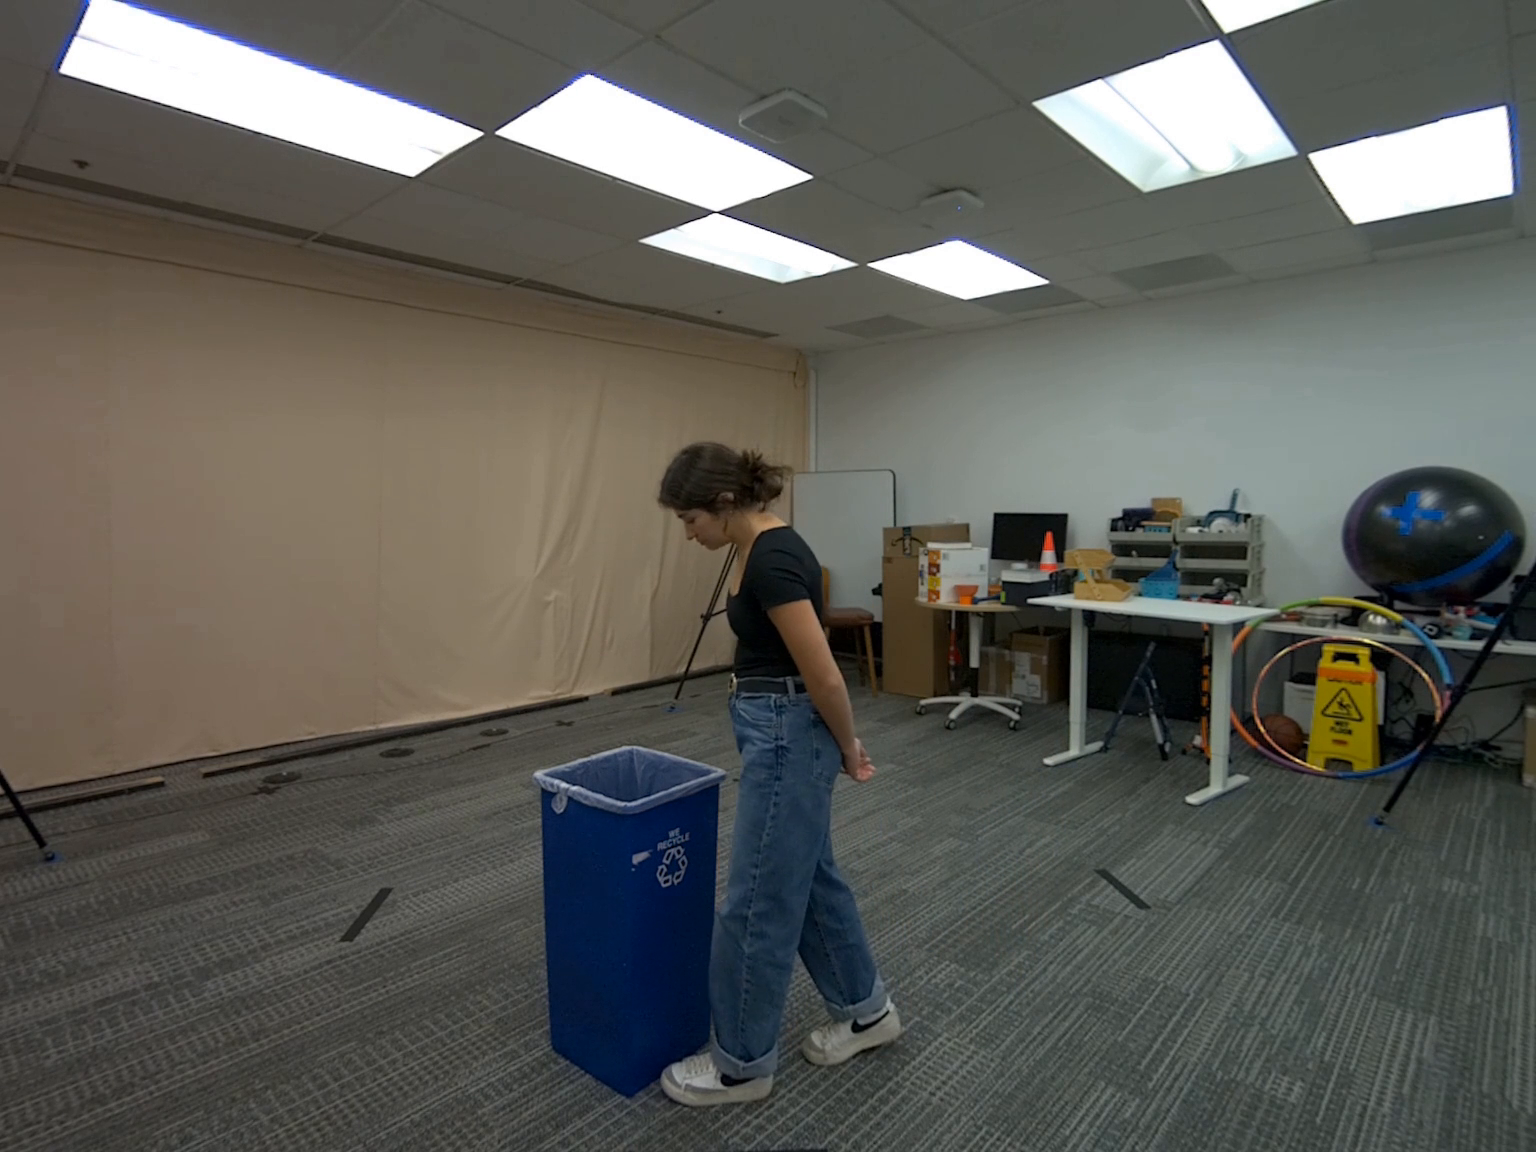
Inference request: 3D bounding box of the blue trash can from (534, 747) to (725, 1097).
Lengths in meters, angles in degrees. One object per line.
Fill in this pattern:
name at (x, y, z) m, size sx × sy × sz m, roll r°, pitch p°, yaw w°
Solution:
blue trash can at (-0.361, 0.859, 2.168) m, size 0.386 × 0.712 × 0.366 m, roll 3°, pitch 4°, yaw 39°
